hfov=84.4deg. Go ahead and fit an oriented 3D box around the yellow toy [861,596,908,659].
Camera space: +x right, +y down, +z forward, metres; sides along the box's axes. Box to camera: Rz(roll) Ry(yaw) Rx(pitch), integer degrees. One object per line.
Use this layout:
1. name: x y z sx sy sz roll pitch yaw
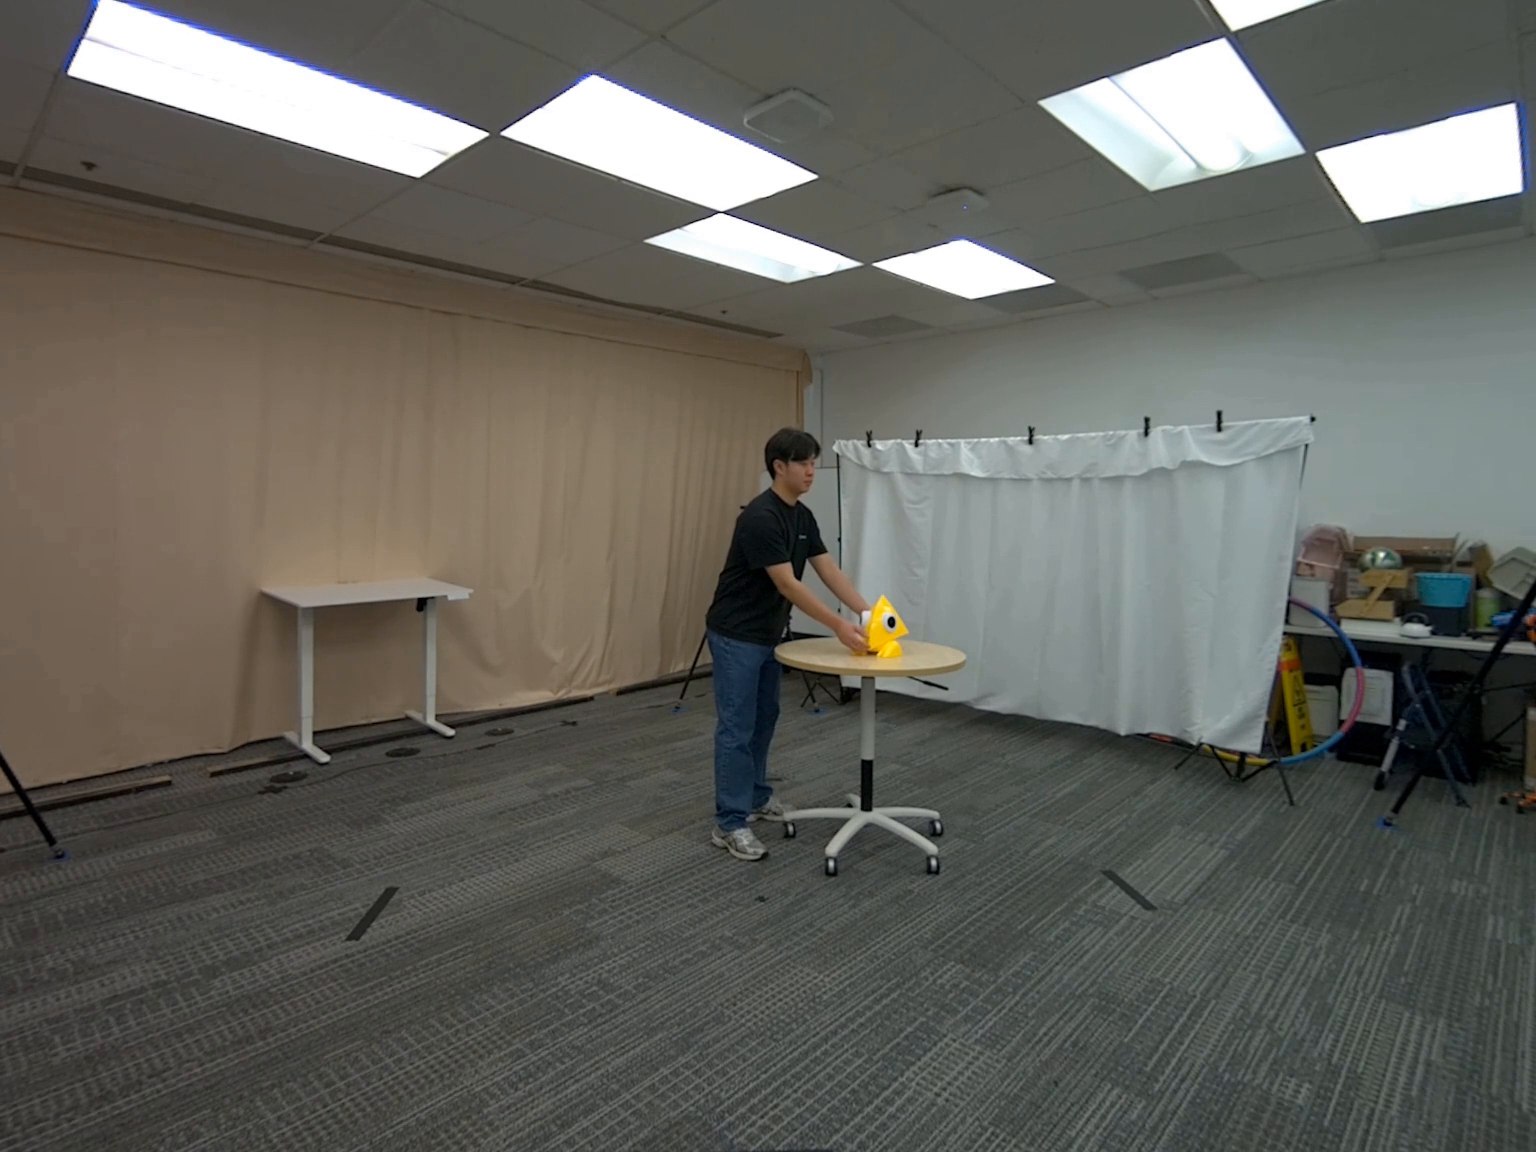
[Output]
1. yellow toy: 0.449 0.198 3.404 0.210 0.230 0.188 2 3 28
